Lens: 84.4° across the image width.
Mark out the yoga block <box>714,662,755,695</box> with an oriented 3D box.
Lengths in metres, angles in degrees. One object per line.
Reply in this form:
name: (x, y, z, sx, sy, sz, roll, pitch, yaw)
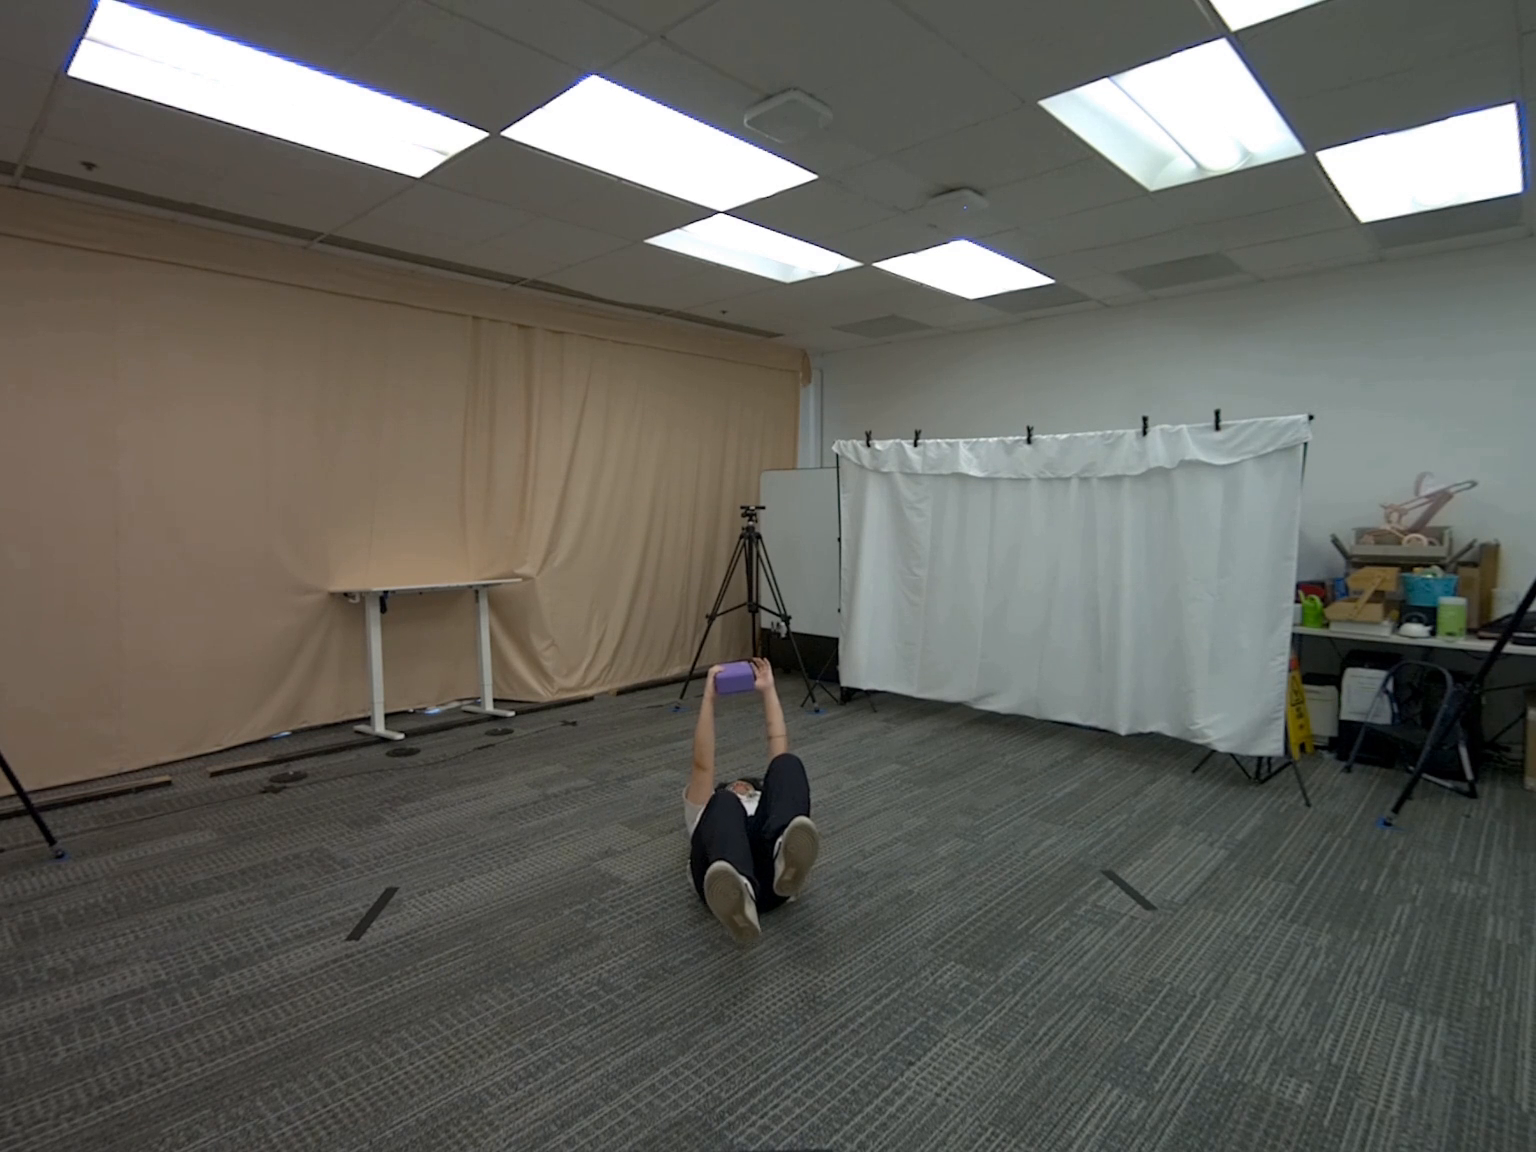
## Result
yoga block: (-0.141, 0.412, 3.403, 0.148, 0.076, 0.231, -6, 6, -4)
